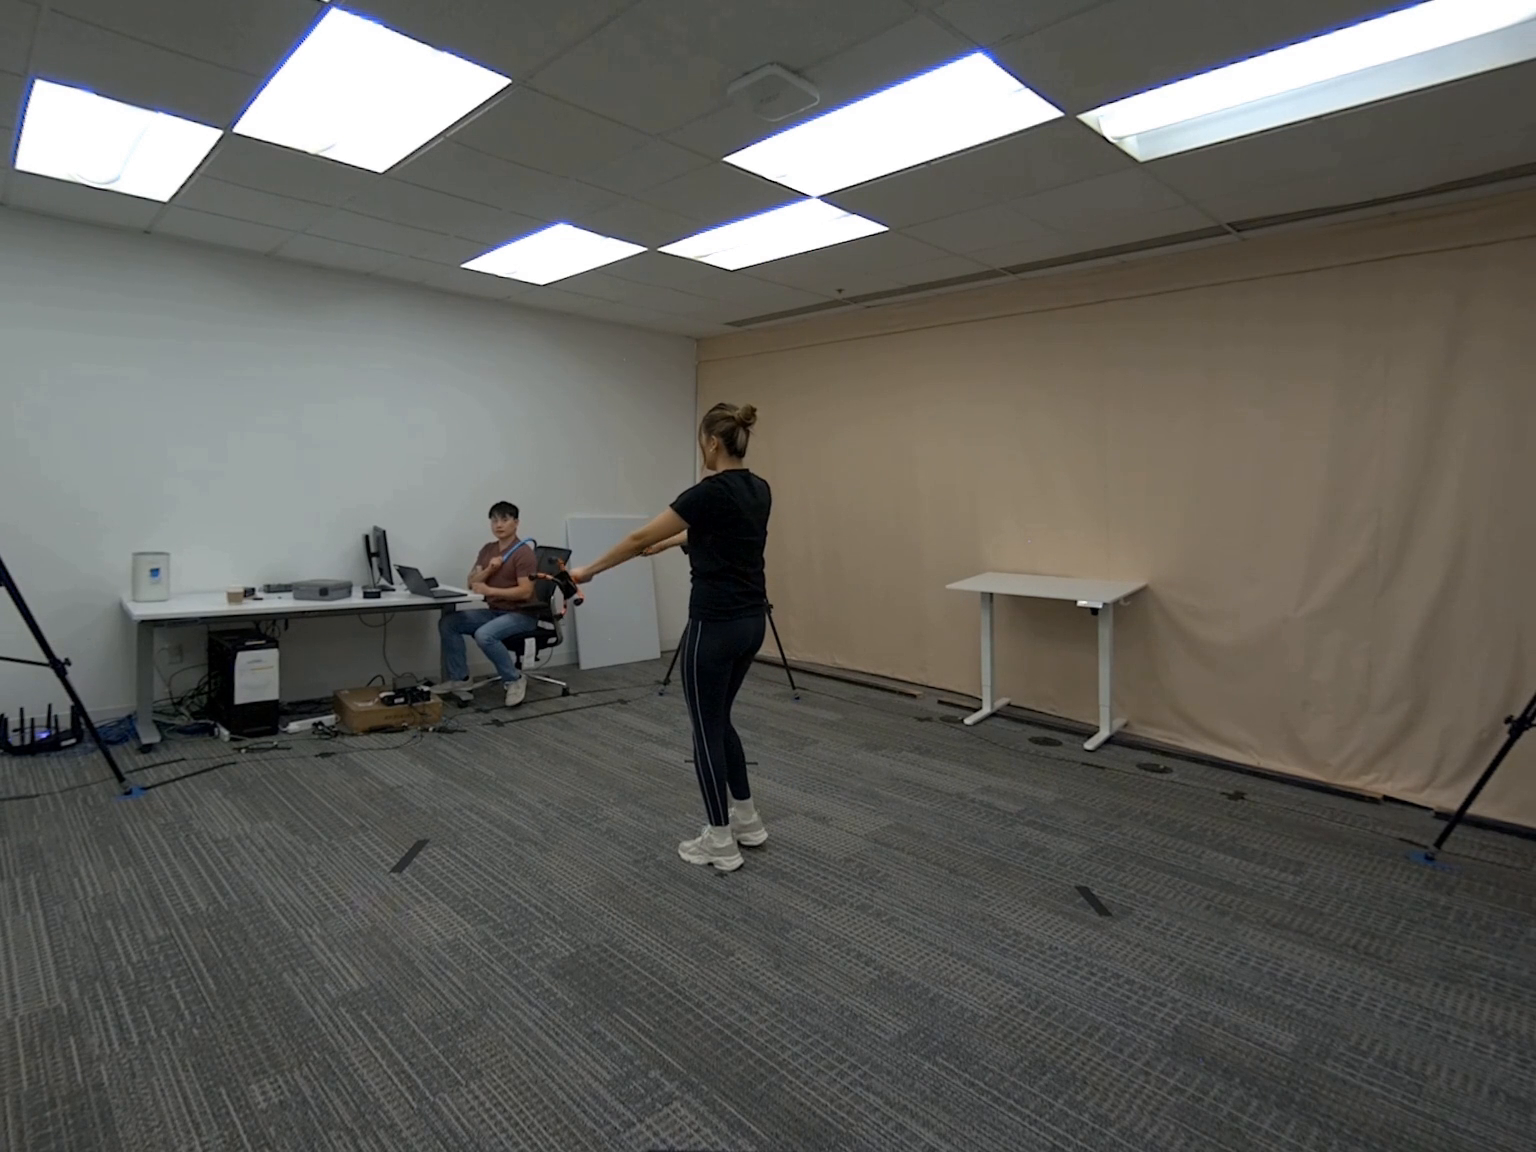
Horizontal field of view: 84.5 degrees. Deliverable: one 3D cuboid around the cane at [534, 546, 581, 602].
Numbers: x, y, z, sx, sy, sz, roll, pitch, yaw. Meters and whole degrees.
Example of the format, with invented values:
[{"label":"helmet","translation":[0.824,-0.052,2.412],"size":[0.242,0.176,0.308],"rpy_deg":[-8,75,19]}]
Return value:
[{"label":"cane","translation":[-0.595,-0.070,3.480],"size":[0.153,0.207,0.899],"rpy_deg":[-30,0,31]}]
